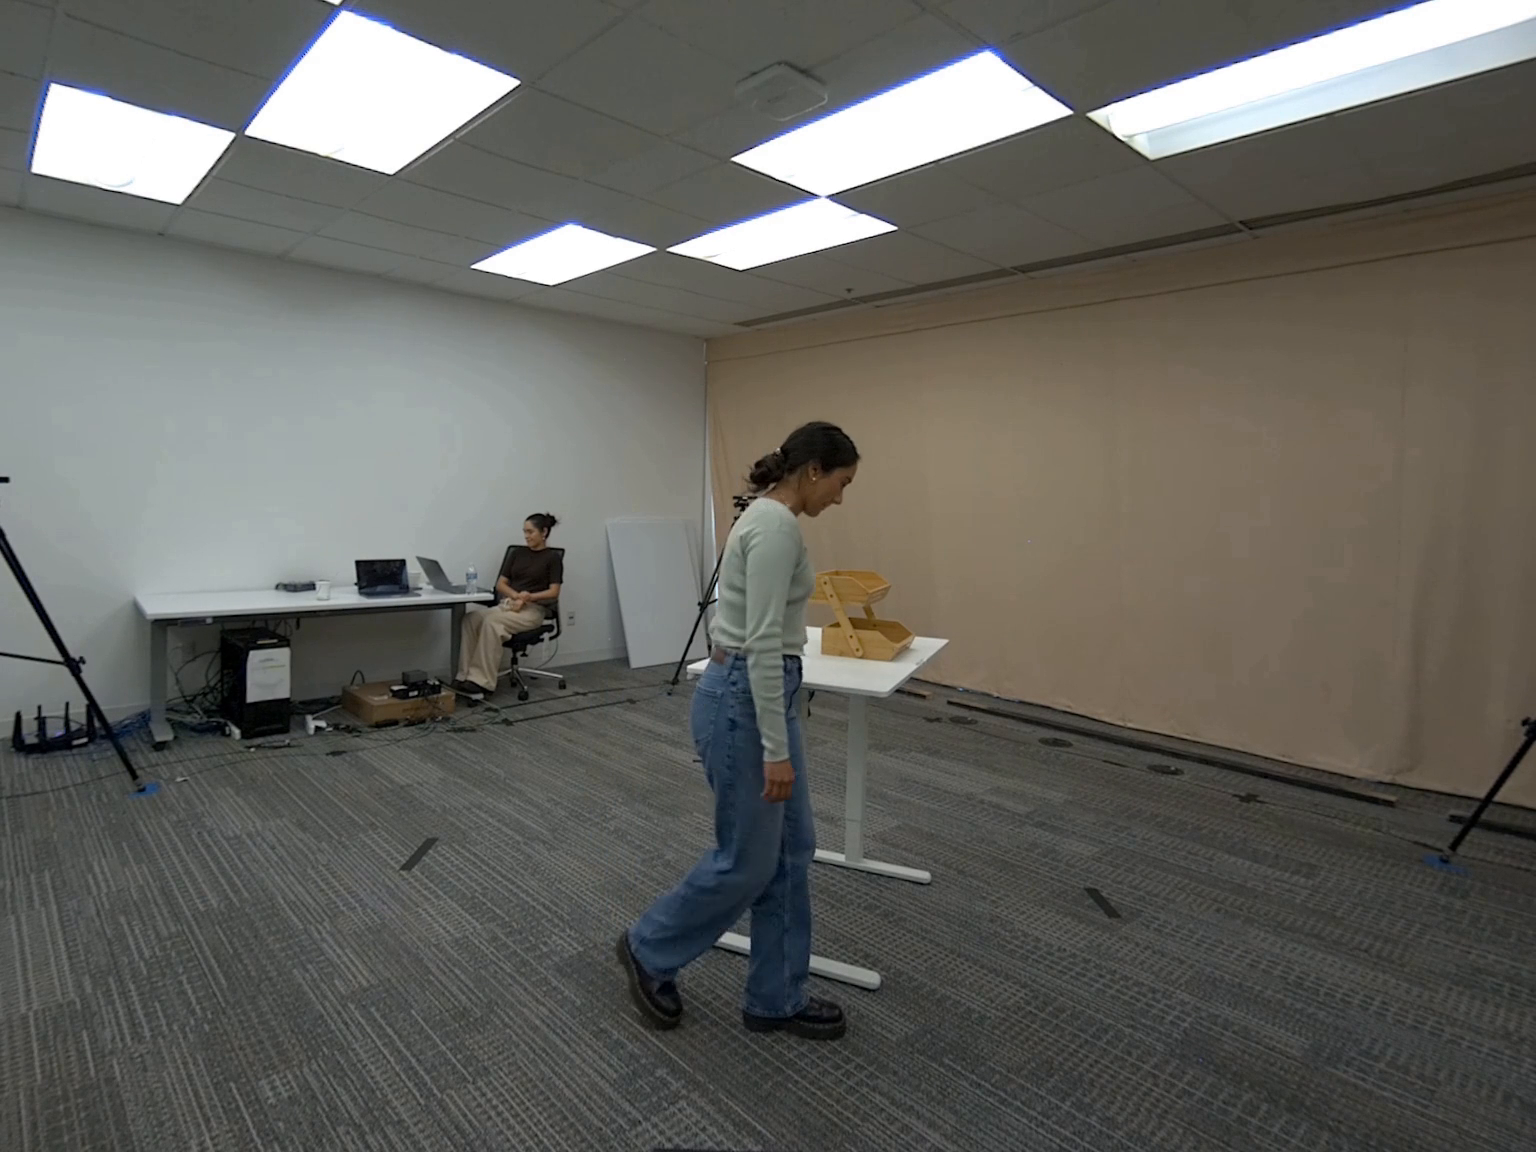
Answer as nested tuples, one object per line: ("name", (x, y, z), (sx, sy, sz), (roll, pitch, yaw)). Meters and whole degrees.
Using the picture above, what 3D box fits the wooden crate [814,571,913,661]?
("wooden crate", (0.326, 0.124, 2.859), (0.307, 0.273, 0.320), (3, 4, 21))
